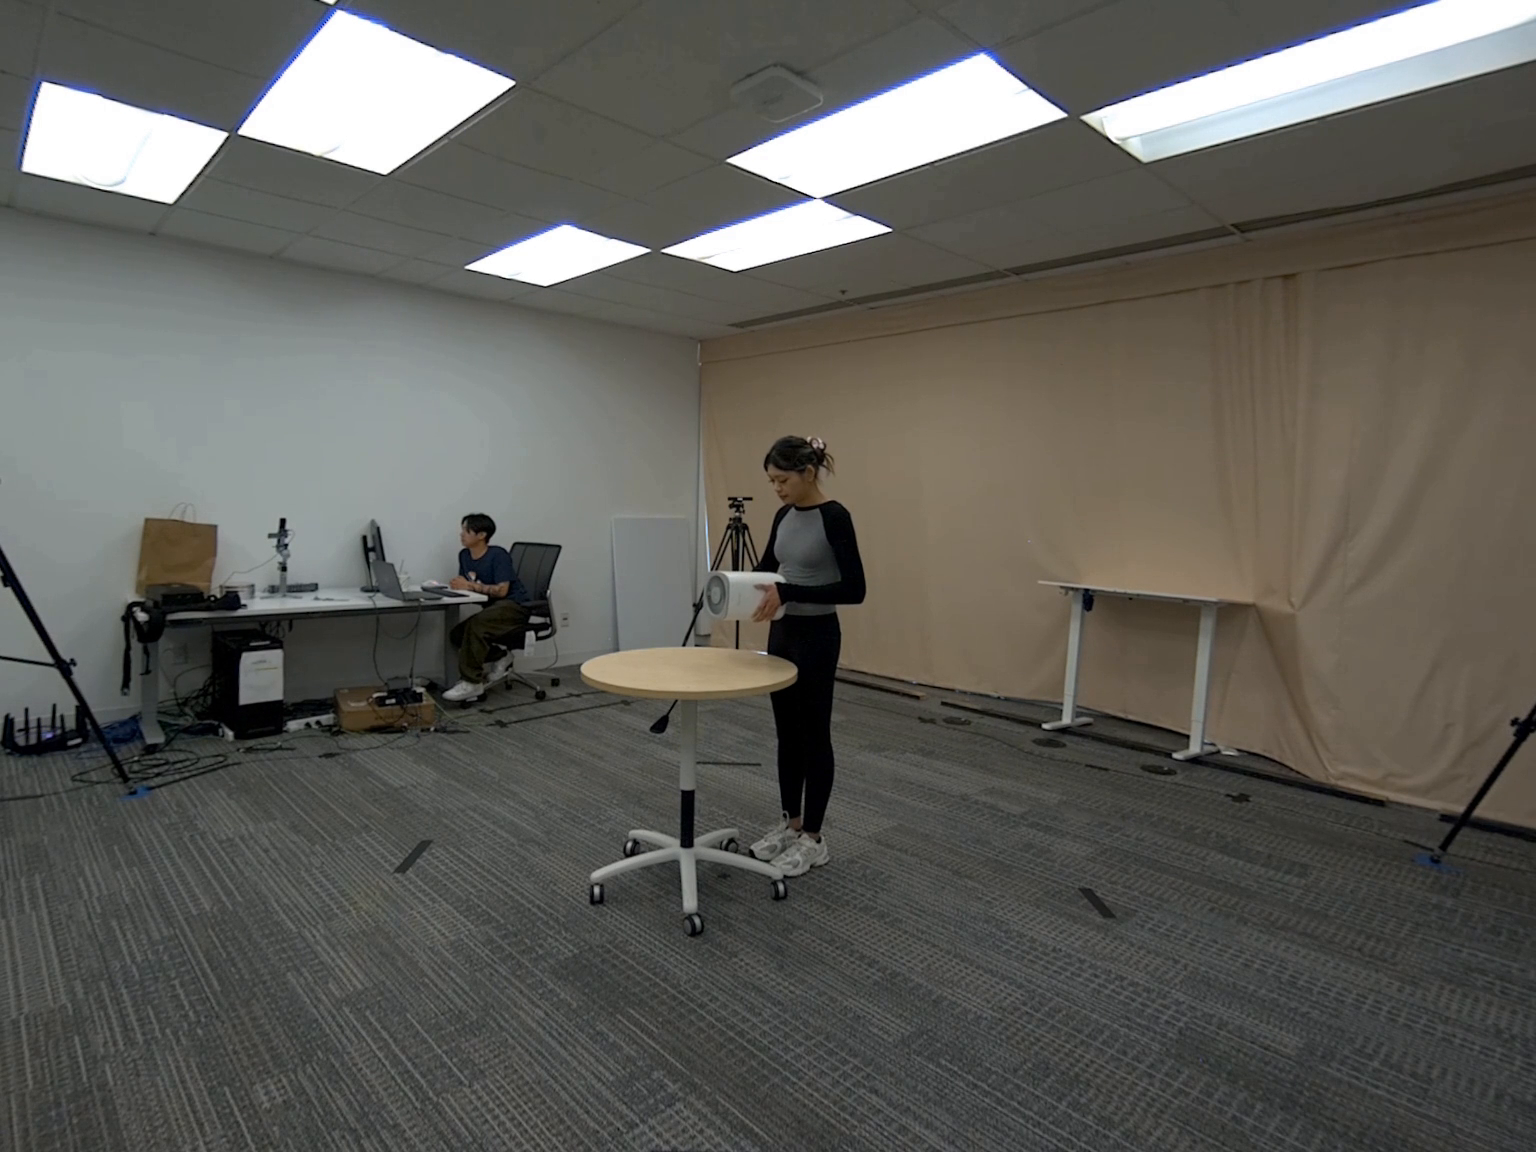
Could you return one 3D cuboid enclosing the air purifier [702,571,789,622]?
[{"bbox_3d":[-0.088,0.072,3.053,0.259,0.171,0.176,3,5,-31],"label":"air purifier"}]
